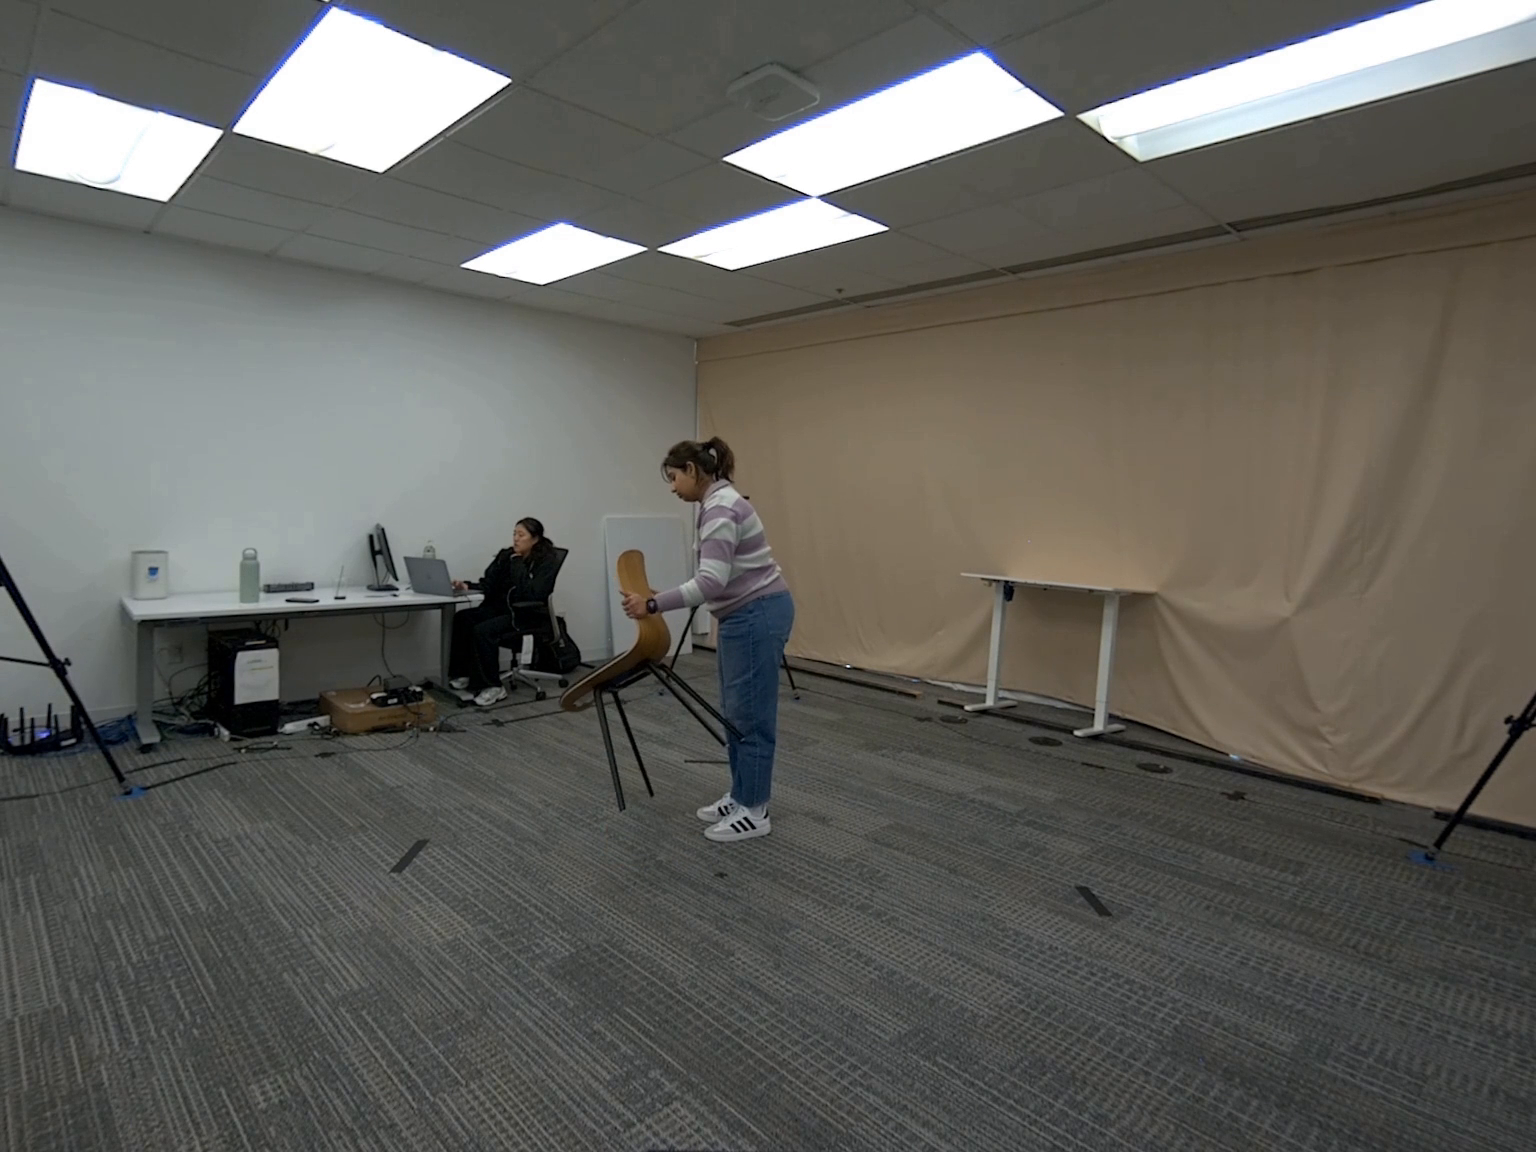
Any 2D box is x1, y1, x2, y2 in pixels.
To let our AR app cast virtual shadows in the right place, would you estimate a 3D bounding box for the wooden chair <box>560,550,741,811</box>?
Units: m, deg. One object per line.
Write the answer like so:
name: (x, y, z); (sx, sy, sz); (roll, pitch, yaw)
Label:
wooden chair: (-0.551, 0.406, 3.298); (0.523, 0.888, 0.472); (-29, -11, 2)
